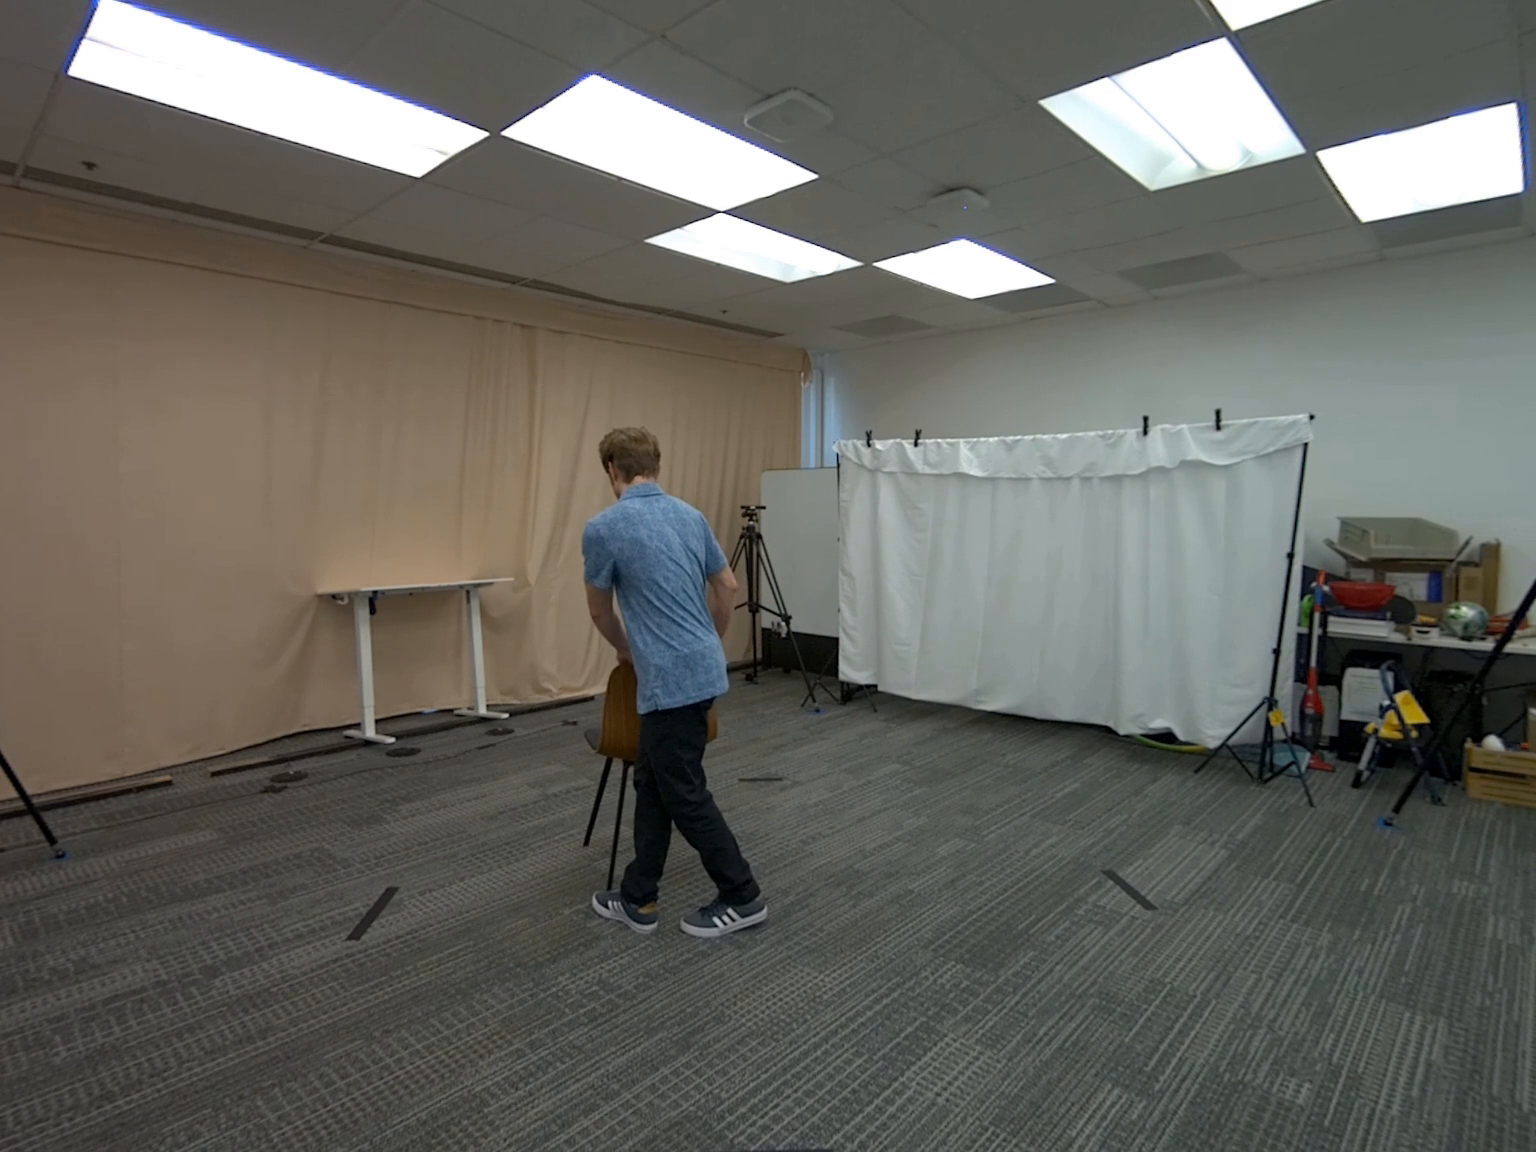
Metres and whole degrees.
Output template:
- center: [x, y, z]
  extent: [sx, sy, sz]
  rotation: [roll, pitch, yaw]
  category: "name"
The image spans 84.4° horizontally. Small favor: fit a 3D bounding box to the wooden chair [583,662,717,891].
- center: [-0.472, 0.689, 3.317]
  extent: [0.468, 0.873, 0.536]
  rotation: [-2, 7, -22]
  category: "wooden chair"
